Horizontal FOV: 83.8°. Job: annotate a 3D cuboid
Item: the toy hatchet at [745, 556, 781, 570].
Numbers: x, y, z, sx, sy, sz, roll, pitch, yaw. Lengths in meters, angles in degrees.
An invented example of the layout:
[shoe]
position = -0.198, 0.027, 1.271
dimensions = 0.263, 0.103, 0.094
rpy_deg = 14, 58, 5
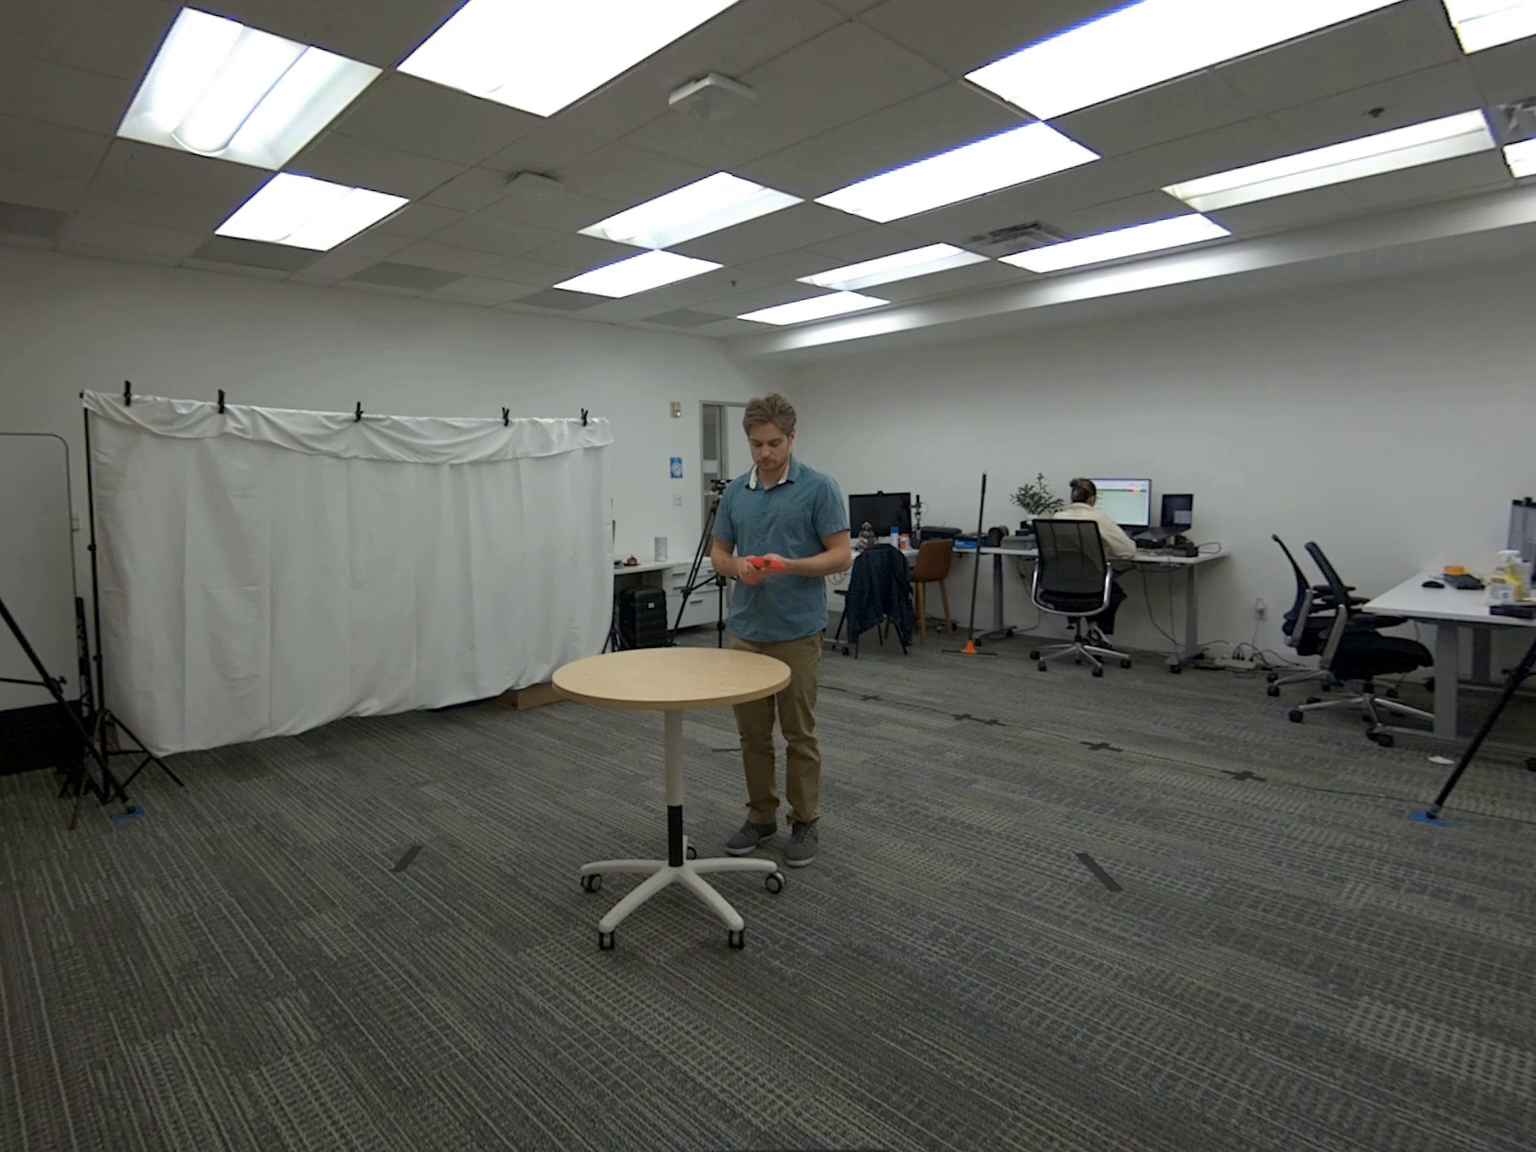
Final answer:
[toy hatchet]
position = 0.012, -0.027, 2.900
dimensions = 0.133, 0.030, 0.265
rpy_deg = 6, -5, 13
